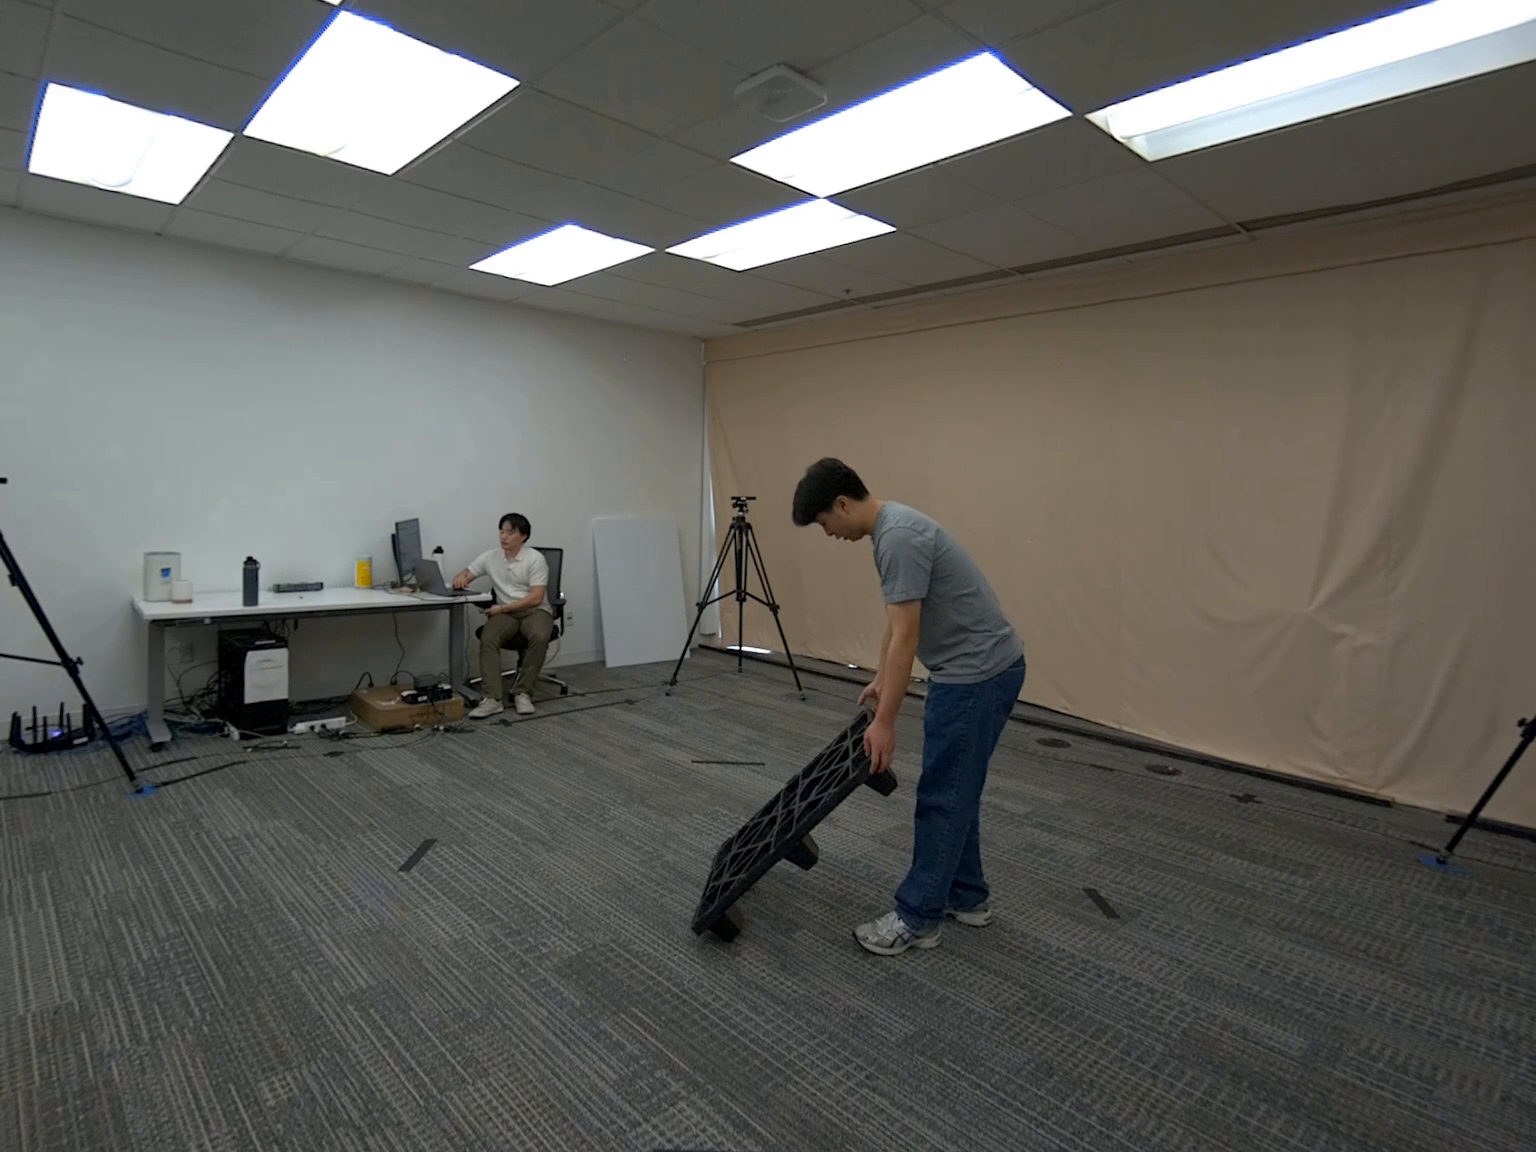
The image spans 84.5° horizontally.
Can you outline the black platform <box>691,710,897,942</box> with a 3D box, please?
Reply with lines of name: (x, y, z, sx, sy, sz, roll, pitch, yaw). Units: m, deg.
black platform: (0.102, 0.828, 2.819, 0.144, 0.806, 0.603, 45, 8, 1)
